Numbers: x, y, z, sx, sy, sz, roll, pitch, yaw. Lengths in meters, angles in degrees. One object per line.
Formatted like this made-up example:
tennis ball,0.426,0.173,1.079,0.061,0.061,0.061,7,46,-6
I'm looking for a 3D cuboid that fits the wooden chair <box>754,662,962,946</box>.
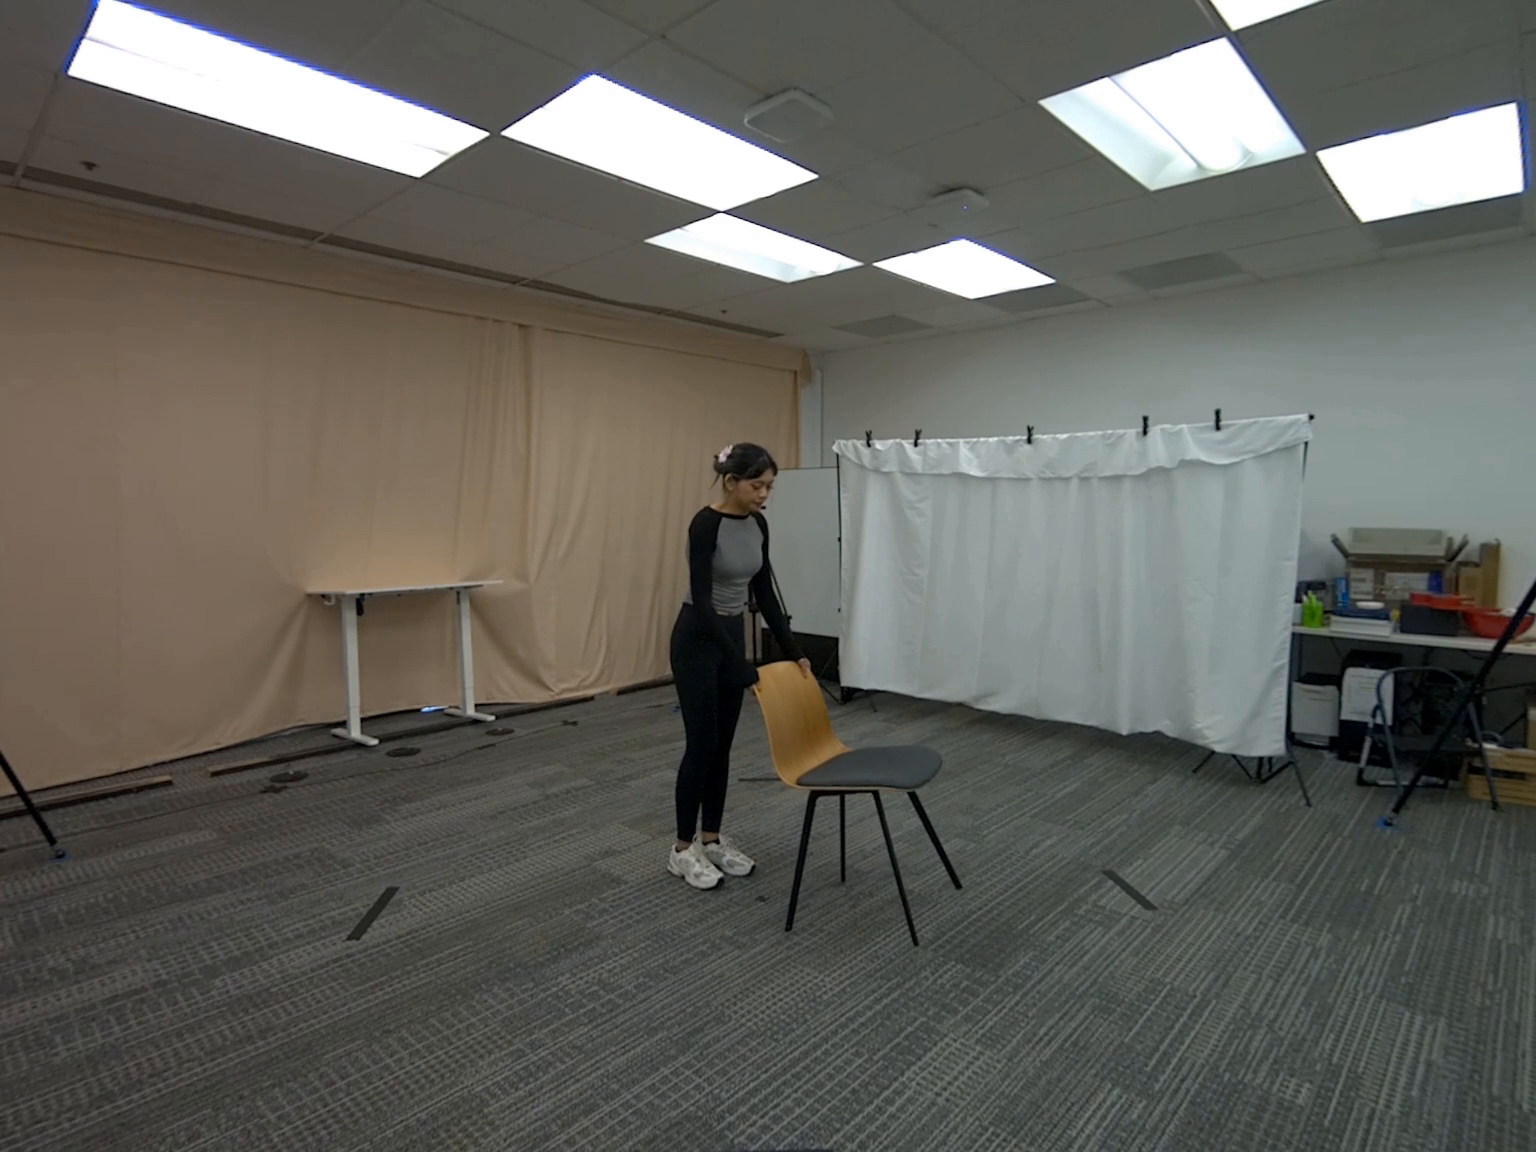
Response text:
wooden chair,0.310,0.697,2.827,0.535,0.881,0.465,-15,-5,31
